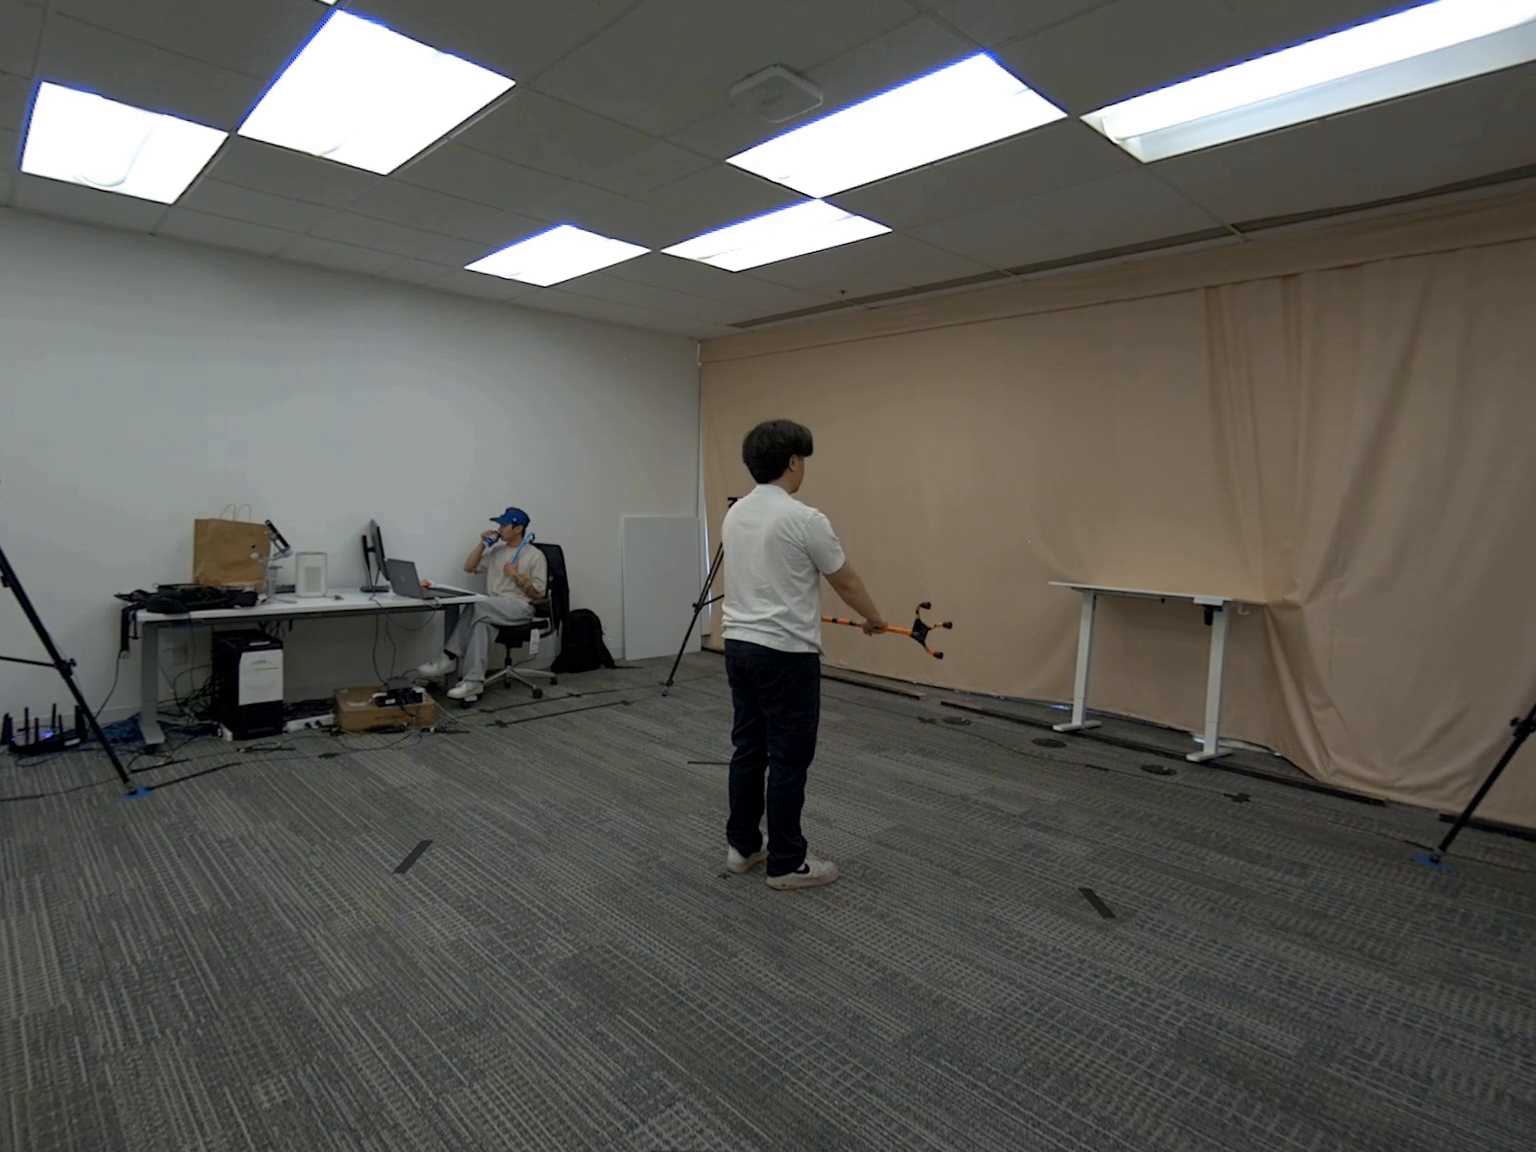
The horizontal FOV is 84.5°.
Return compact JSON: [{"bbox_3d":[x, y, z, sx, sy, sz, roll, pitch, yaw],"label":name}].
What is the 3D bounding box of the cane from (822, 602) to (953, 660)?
[{"bbox_3d":[0.266,0.164,3.412,0.931,0.152,0.200,6,-23,44],"label":"cane"}]
